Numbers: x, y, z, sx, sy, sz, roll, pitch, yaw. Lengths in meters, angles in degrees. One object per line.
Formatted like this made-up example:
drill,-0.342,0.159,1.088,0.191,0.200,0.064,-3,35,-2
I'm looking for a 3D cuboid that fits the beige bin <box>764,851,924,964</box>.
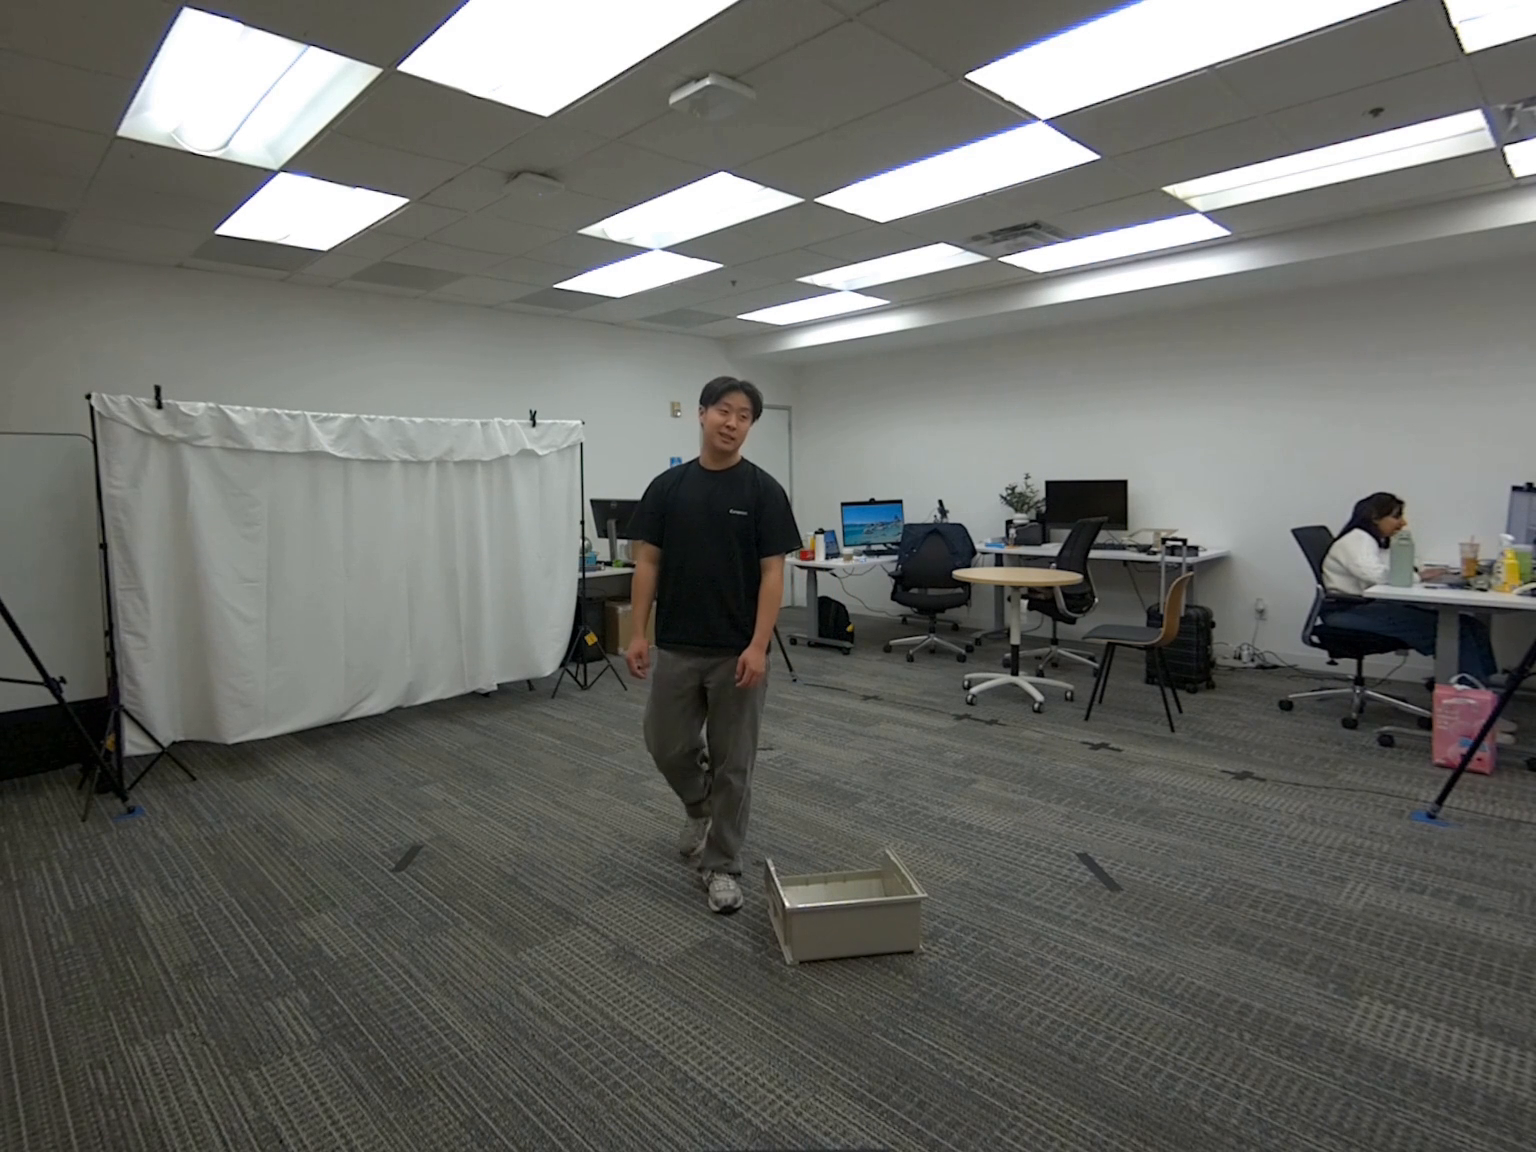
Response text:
beige bin,0.231,1.009,2.642,0.419,0.188,0.382,-1,6,-9
